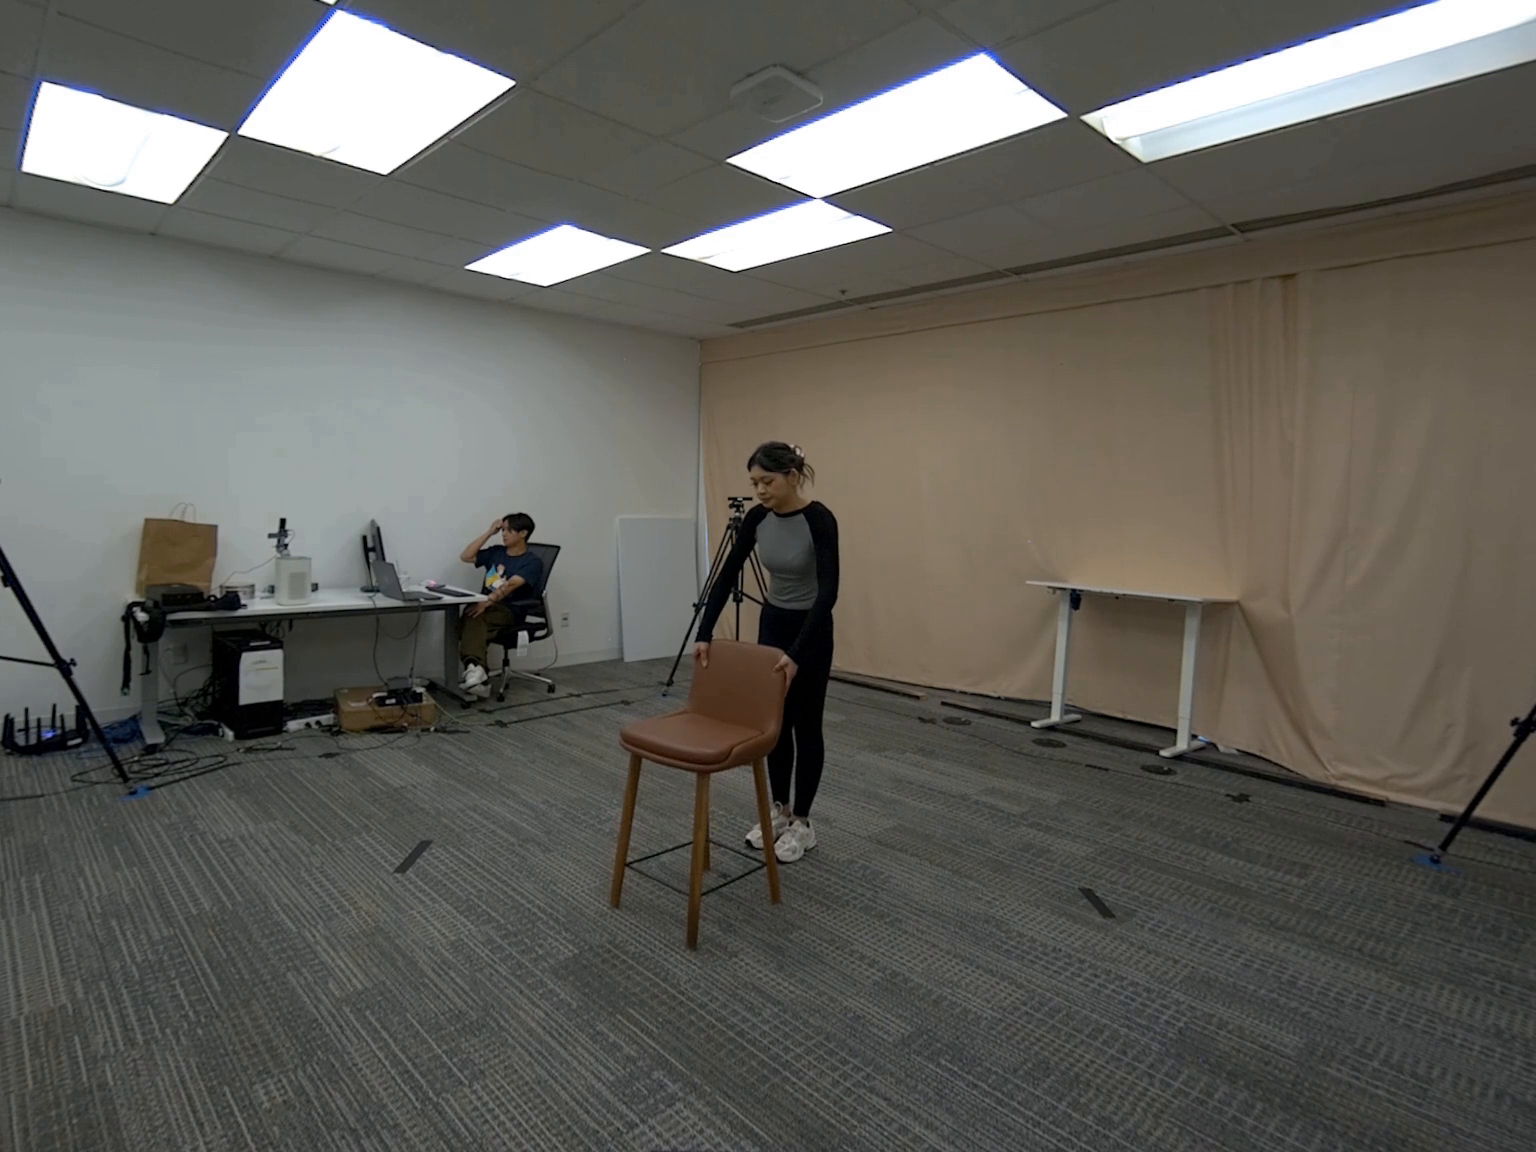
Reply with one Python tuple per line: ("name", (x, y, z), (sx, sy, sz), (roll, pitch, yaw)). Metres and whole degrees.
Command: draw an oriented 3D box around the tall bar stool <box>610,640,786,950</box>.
("tall bar stool", (-0.231, 0.689, 2.864), (0.468, 0.889, 0.456), (4, 2, 44))
